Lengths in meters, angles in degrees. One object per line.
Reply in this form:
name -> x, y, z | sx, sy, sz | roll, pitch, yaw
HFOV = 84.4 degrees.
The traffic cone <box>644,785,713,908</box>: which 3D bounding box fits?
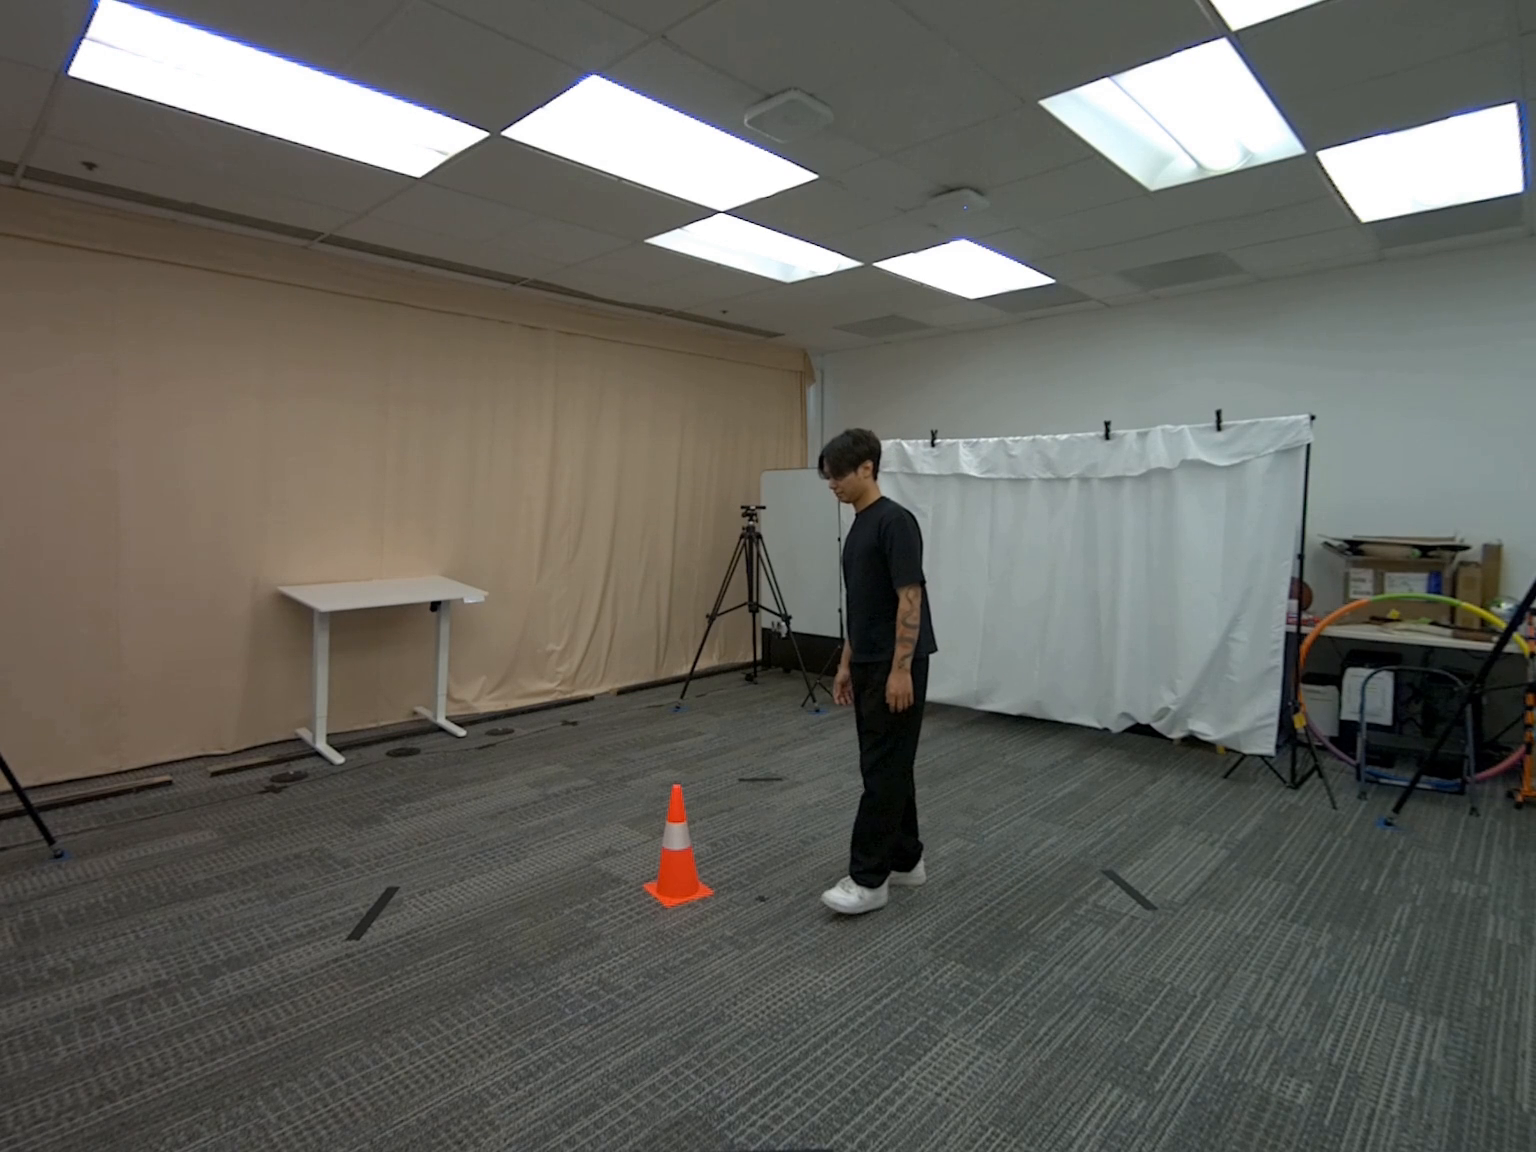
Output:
traffic cone -> -0.334, 0.964, 3.059 | 0.197, 0.383, 0.211 | -2, 1, -33
